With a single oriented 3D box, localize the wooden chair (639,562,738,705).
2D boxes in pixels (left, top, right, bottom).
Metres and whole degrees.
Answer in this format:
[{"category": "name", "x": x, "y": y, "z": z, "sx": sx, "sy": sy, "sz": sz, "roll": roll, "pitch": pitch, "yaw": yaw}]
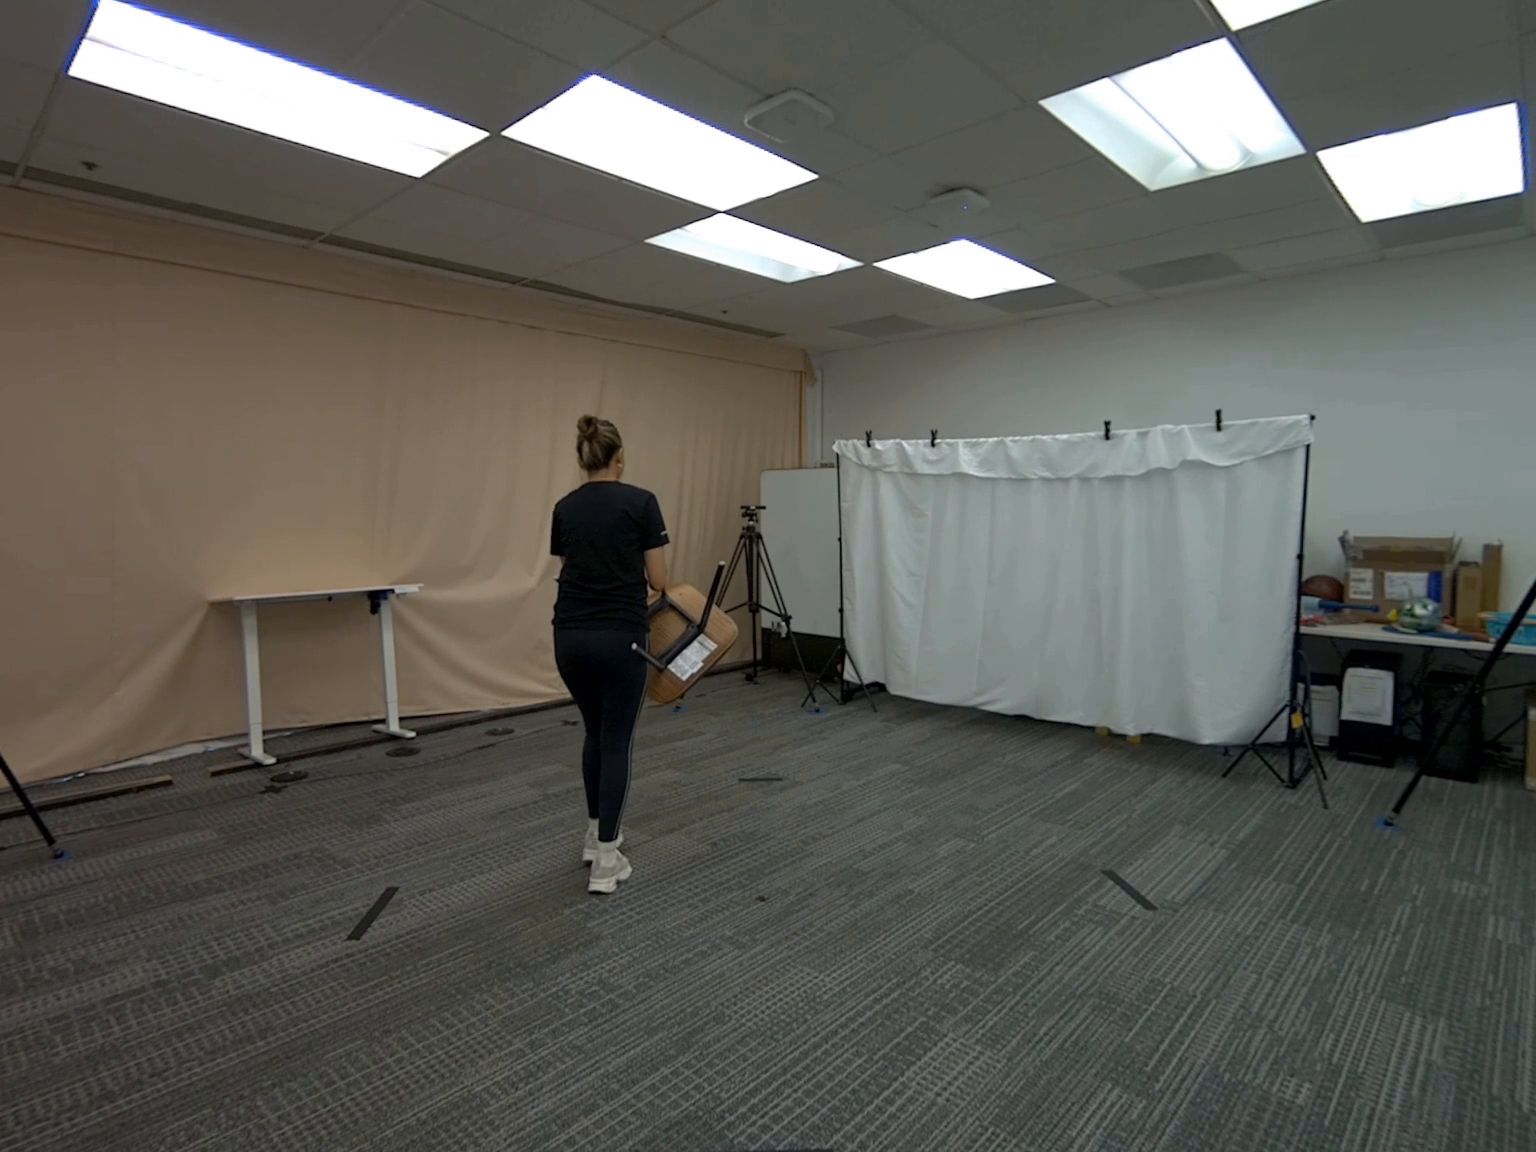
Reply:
[{"category": "wooden chair", "x": -0.421, "y": 0.221, "z": 3.393, "sx": 0.538, "sy": 0.475, "sz": 0.859, "roll": 36, "pitch": -24, "yaw": 23}]
